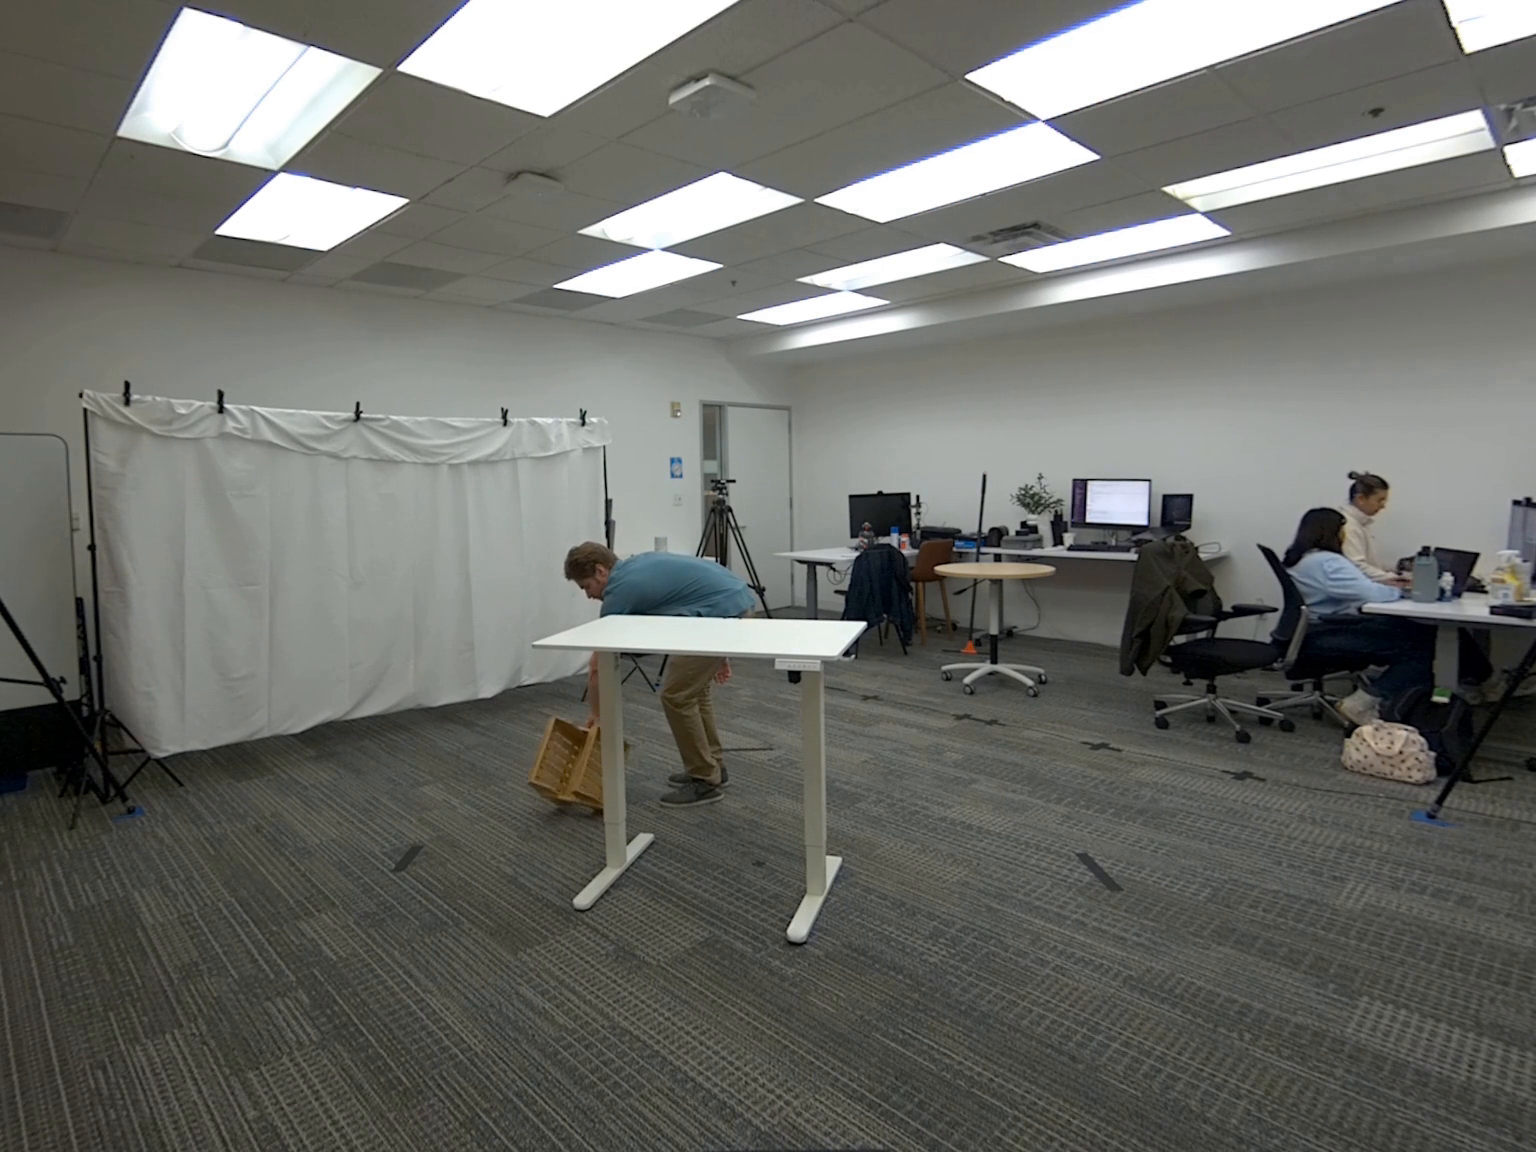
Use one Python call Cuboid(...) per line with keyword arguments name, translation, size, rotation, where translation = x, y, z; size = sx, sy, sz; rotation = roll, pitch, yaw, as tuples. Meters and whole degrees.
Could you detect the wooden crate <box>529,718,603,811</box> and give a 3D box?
Cuboid(name="wooden crate", translation=(-0.798, 0.800, 3.655), size=(0.279, 0.330, 0.290), rotation=(-8, -40, 29))
